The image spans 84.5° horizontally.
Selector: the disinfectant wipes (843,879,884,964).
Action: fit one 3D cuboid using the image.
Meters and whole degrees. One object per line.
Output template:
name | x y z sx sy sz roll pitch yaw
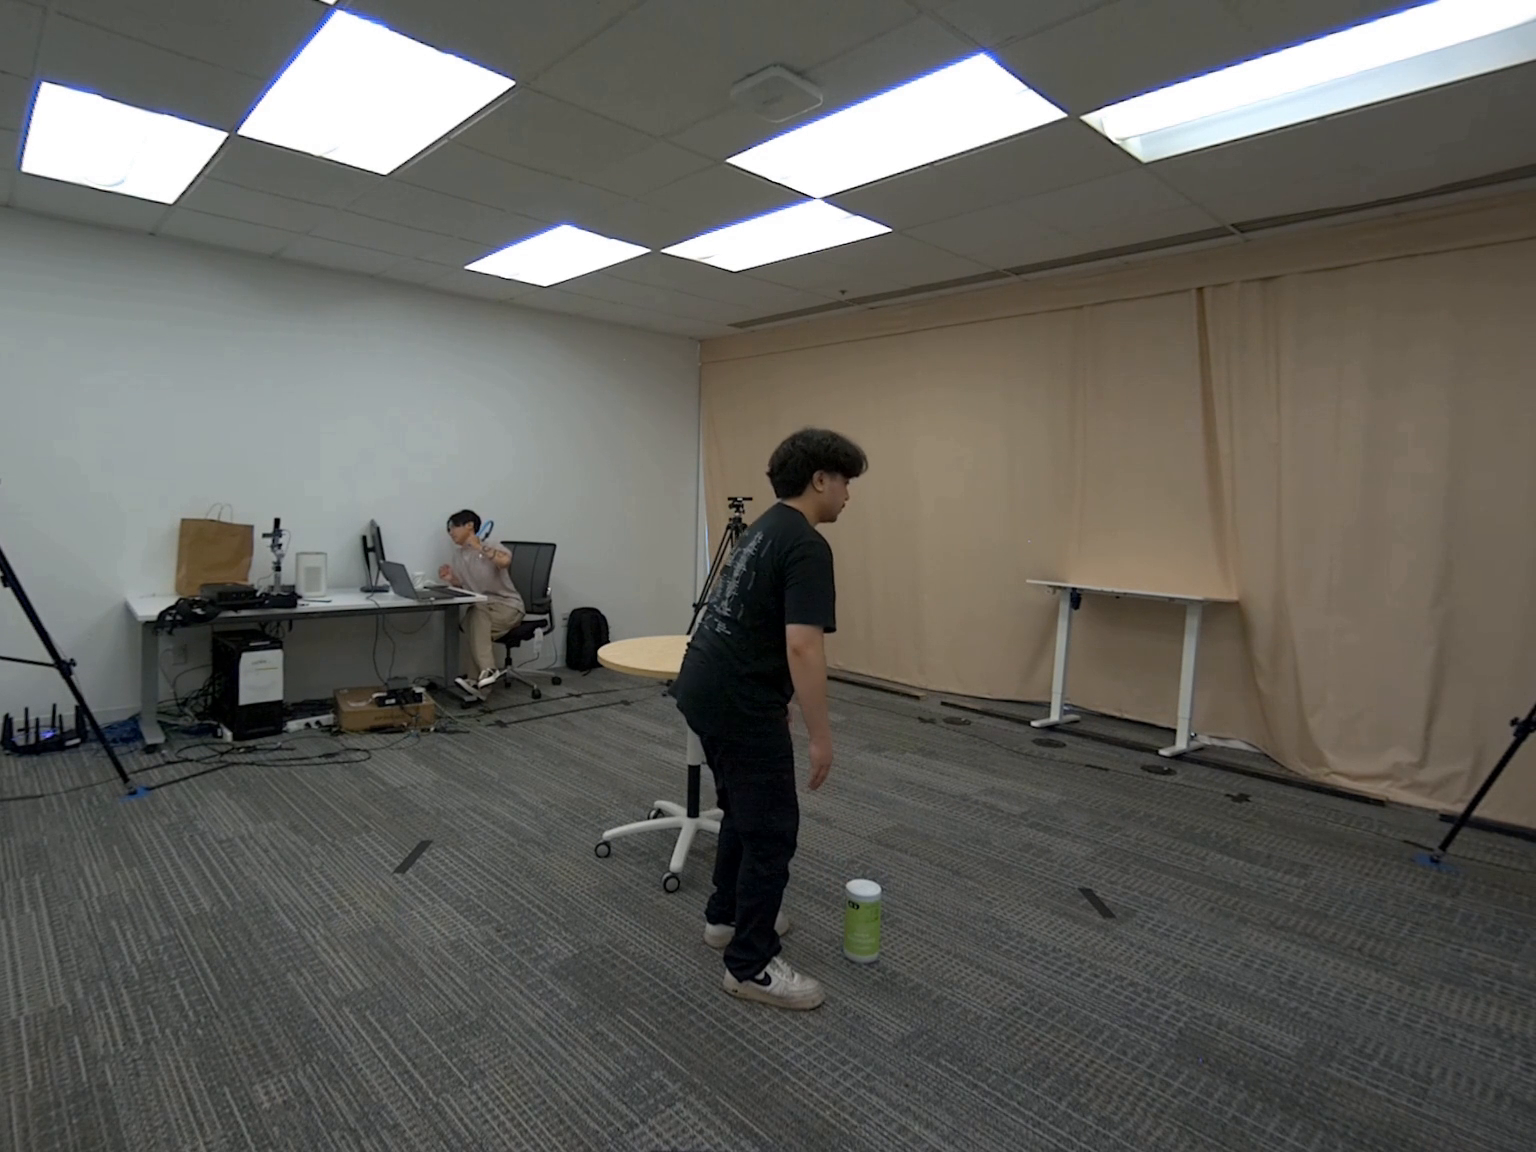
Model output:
disinfectant wipes | 0.284 1.046 2.587 0.118 0.217 0.118 2 4 -2
